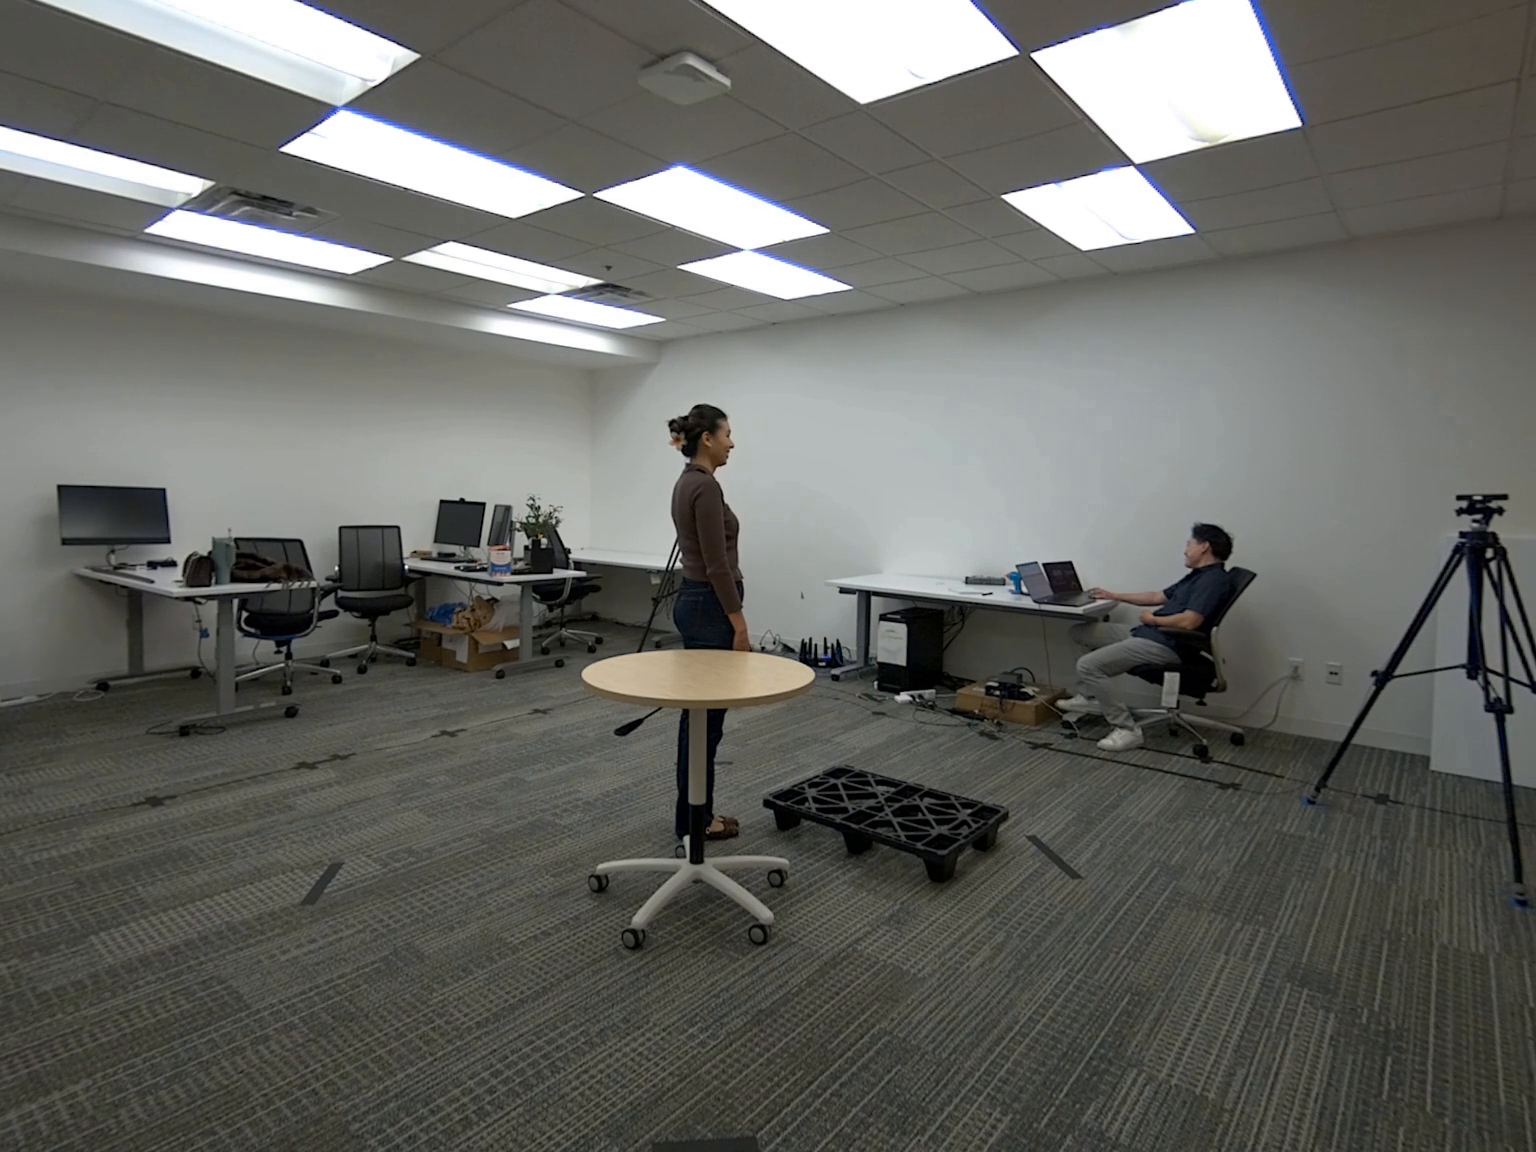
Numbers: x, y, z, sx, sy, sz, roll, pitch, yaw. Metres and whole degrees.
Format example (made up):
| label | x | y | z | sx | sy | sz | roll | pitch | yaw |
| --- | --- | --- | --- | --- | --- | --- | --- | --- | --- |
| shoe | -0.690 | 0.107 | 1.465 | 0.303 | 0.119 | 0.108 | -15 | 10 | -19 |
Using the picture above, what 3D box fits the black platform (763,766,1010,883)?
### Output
| label | x | y | z | sx | sy | sz | roll | pitch | yaw |
| --- | --- | --- | --- | --- | --- | --- | --- | --- | --- |
| black platform | 0.465 | 0.980 | 3.426 | 0.833 | 0.143 | 0.587 | 5 | 7 | 39 |
